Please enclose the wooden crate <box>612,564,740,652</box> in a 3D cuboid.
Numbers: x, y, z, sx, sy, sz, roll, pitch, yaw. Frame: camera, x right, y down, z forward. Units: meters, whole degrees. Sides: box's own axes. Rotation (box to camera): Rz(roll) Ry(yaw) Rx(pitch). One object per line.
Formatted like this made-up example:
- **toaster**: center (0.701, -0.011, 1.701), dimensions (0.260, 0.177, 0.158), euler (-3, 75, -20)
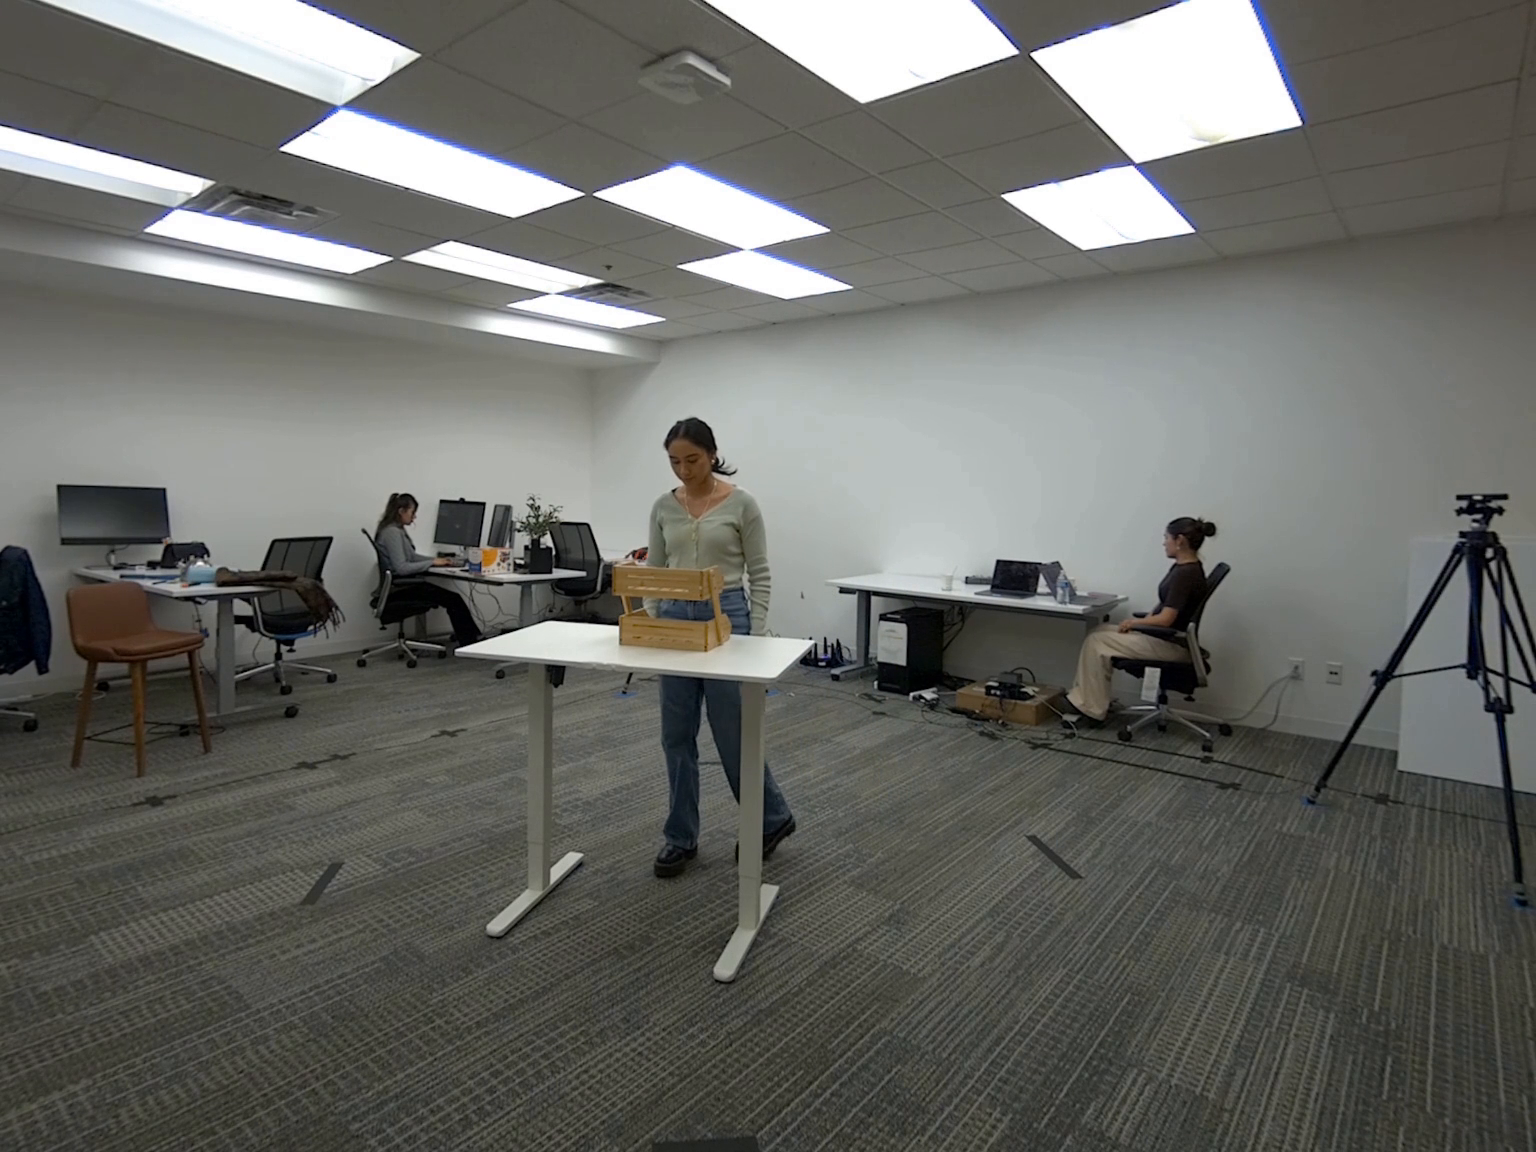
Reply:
- **wooden crate**: center (-0.321, 0.084, 2.763), dimensions (0.331, 0.272, 0.298), euler (2, 6, 17)
